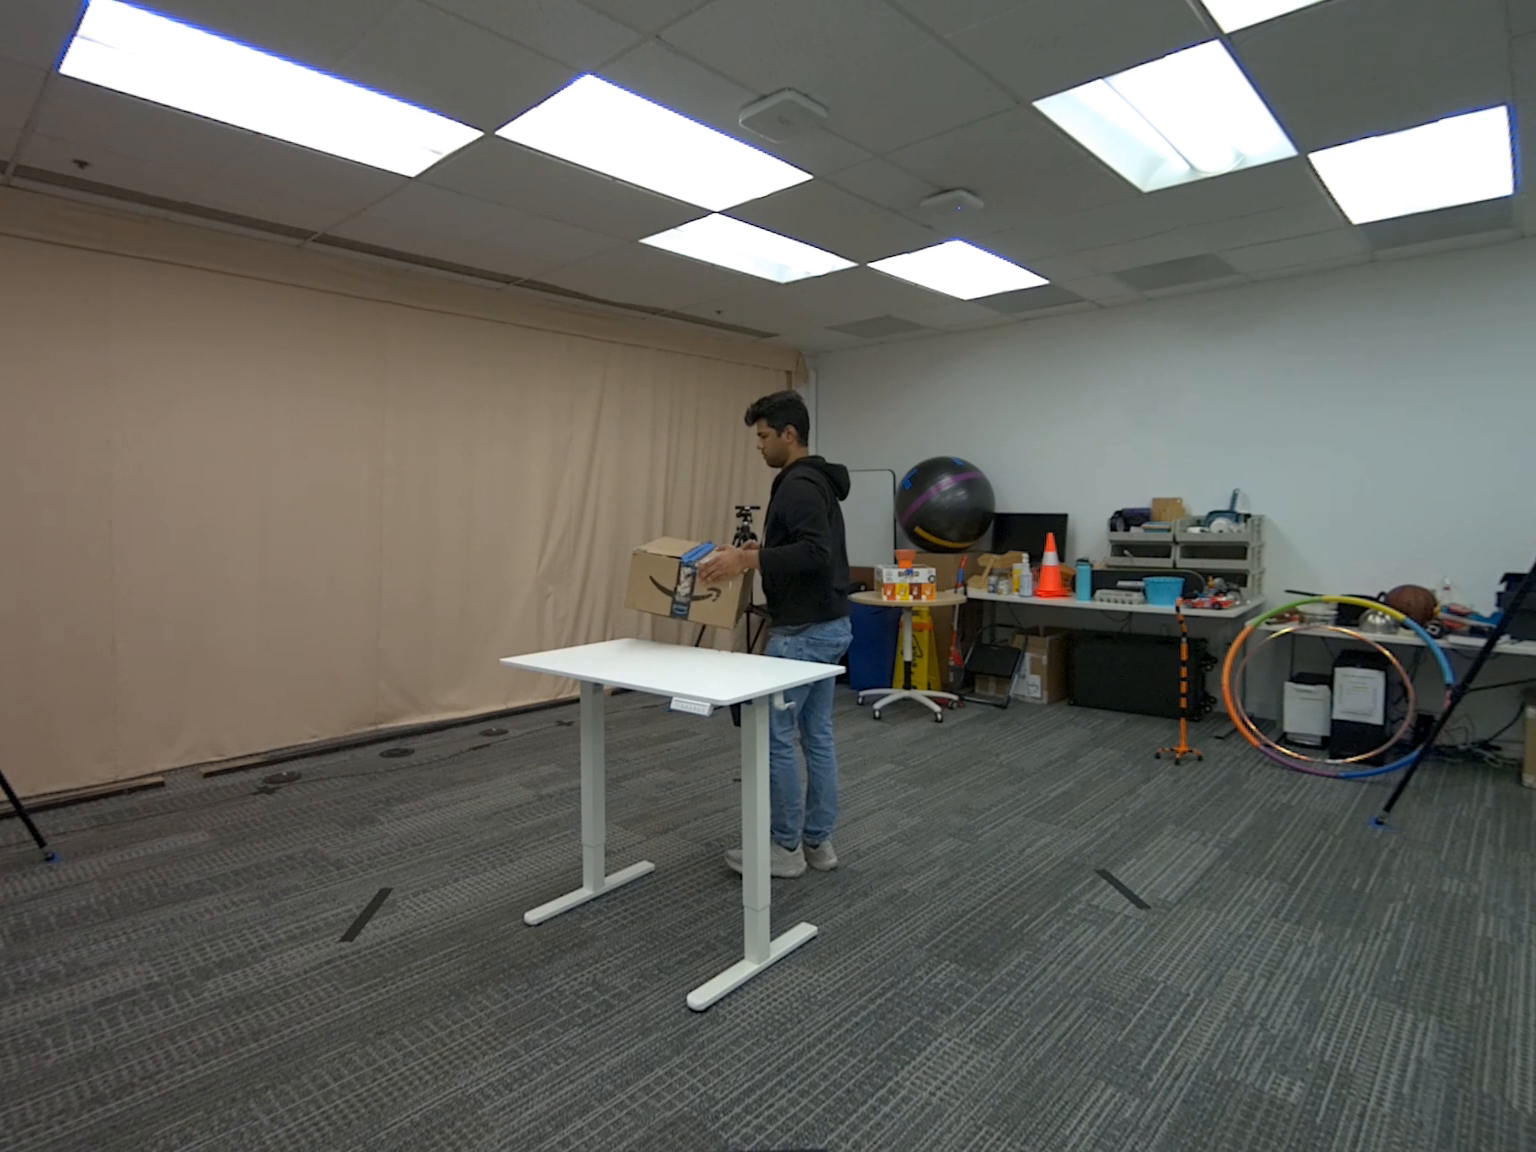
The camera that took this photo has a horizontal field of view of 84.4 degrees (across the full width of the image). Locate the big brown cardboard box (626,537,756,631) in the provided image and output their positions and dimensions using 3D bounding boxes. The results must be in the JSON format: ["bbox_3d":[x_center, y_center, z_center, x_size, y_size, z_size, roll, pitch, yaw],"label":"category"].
[{"bbox_3d":[-0.275,0.014,3.307,0.421,0.232,0.587,9,7,5],"label":"big brown cardboard box"}]
